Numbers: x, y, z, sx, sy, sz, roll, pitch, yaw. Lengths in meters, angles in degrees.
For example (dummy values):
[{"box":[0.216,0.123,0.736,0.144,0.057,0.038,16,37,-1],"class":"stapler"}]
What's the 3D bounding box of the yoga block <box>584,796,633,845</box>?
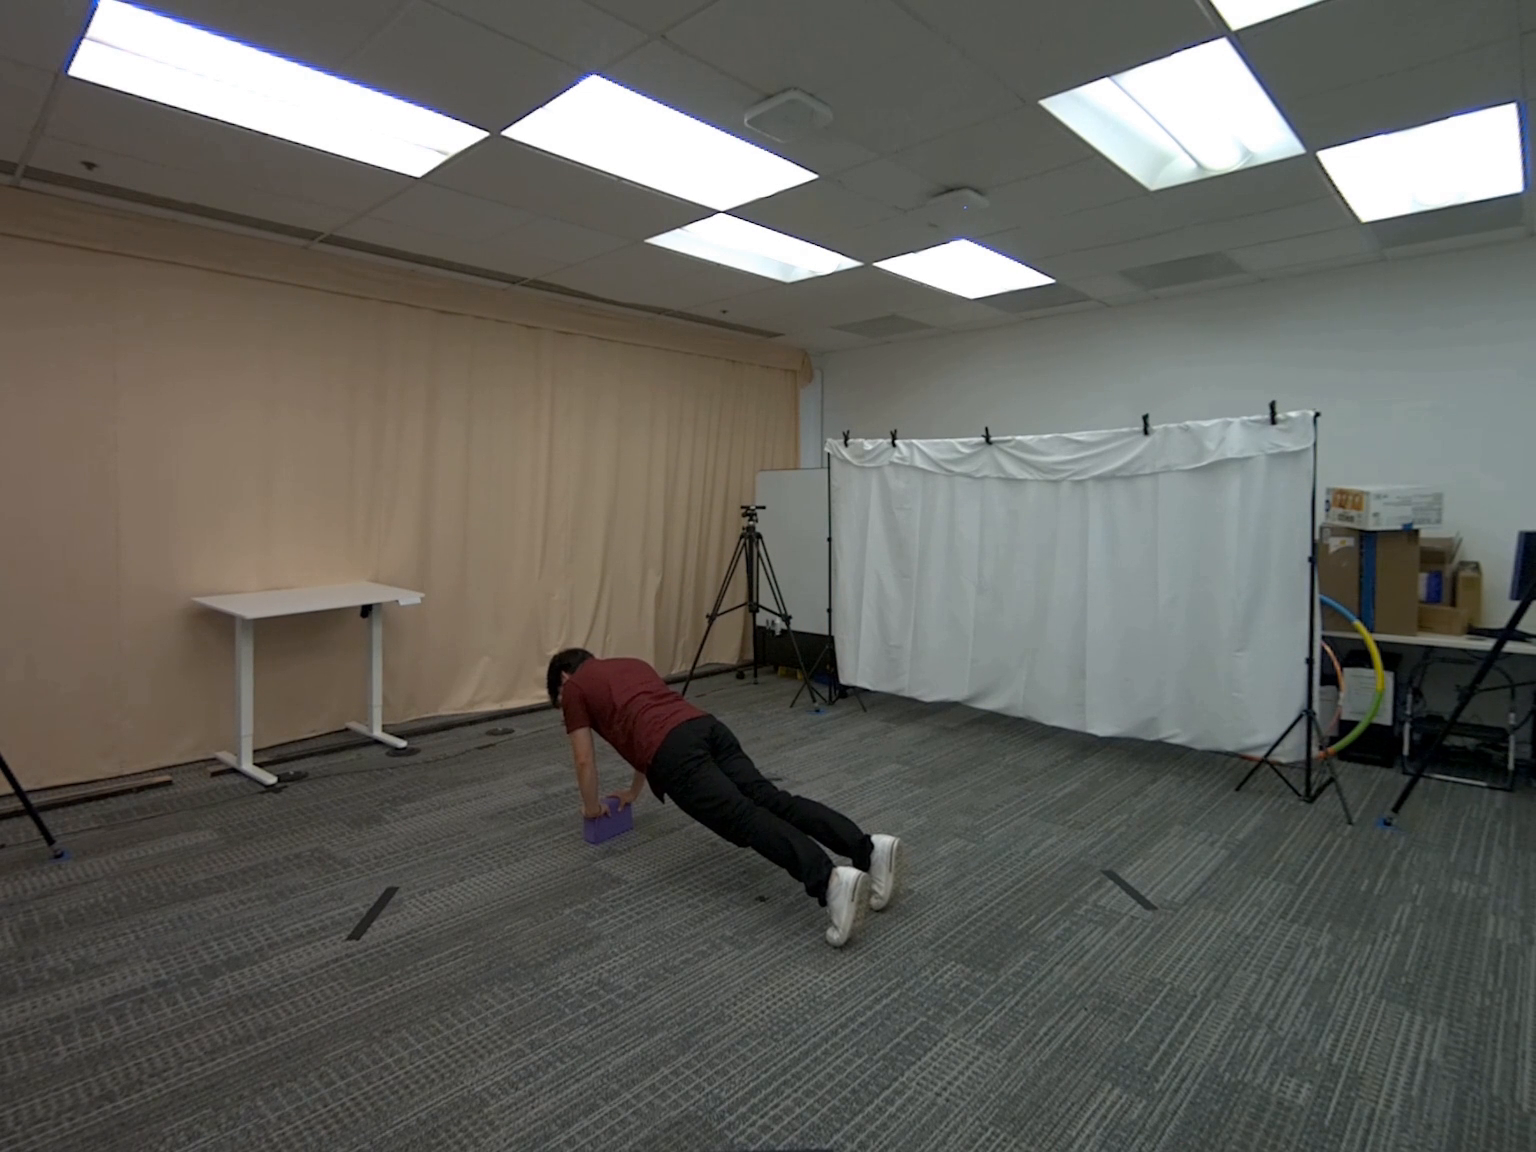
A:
[{"box":[-0.682,1.030,3.579,0.079,0.149,0.223,-4,2,36],"class":"yoga block"}]
